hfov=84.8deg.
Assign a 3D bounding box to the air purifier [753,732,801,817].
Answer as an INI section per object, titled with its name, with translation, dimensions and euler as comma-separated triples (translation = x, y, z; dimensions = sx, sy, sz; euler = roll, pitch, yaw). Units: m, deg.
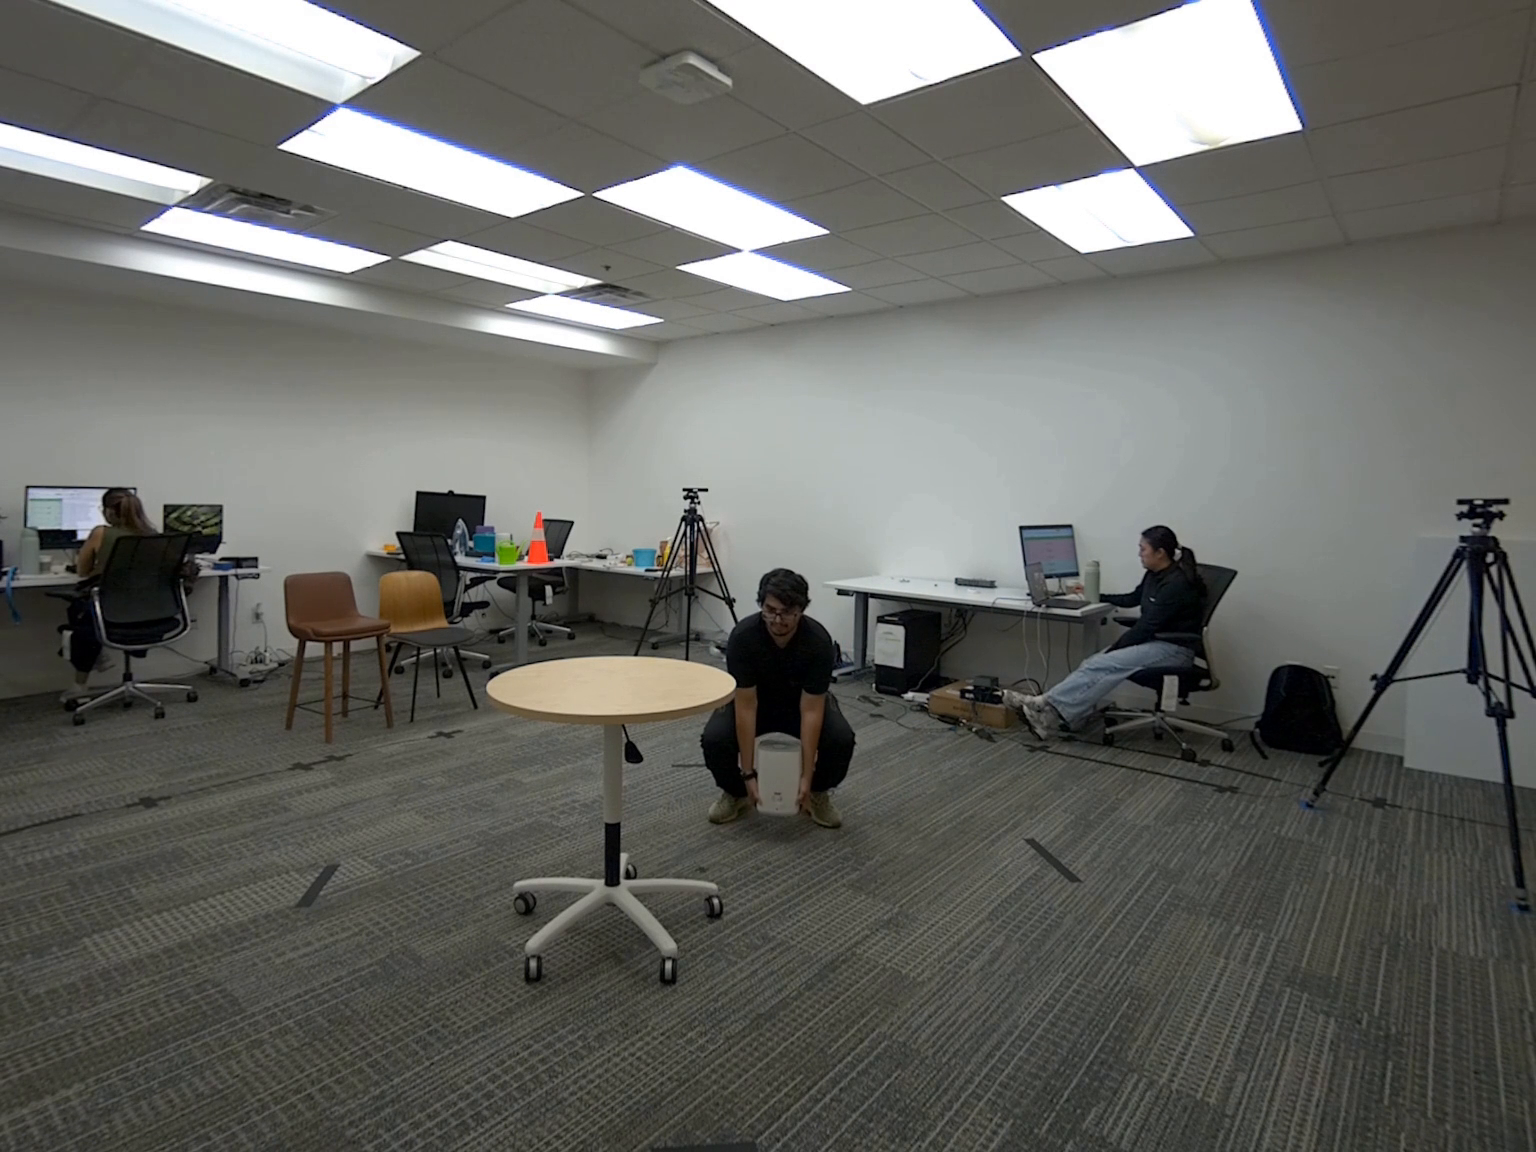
[air purifier]
translation = 0.040, 0.809, 3.419
dimensions = 0.170, 0.263, 0.172
euler = 1, -3, 8
